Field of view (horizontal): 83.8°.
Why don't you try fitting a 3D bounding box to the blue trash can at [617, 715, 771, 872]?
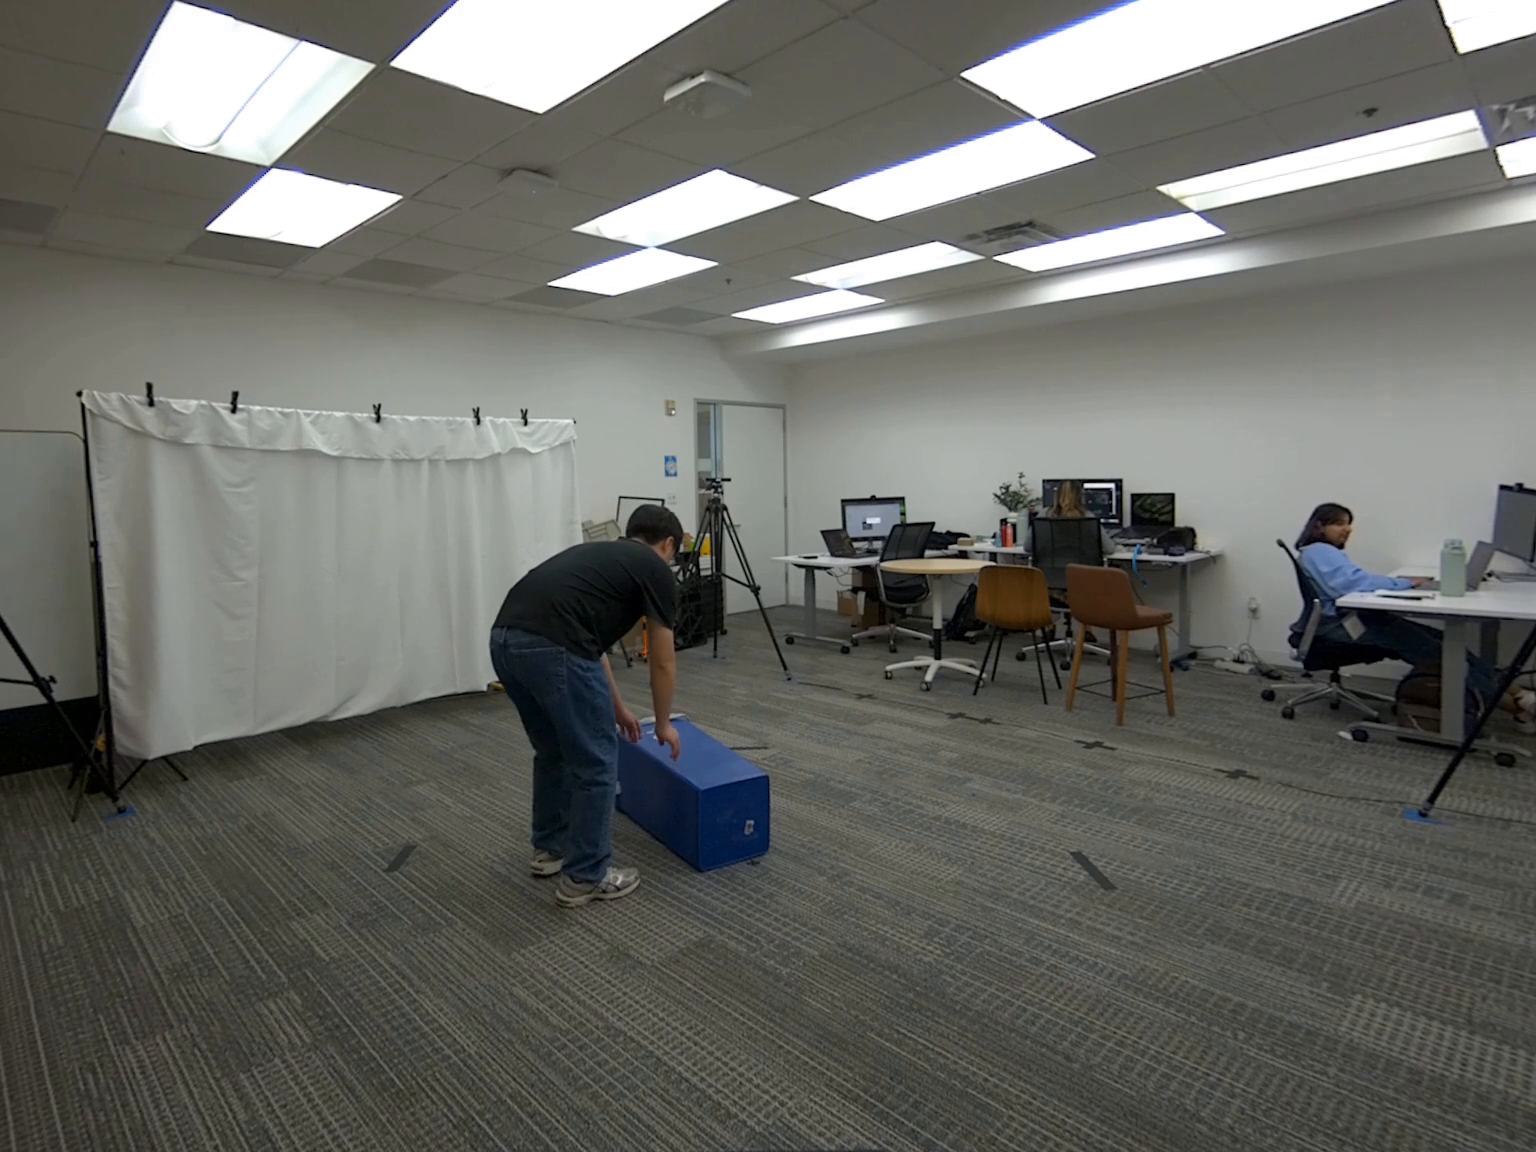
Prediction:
[{"bbox_3d":[-0.307,0.846,3.399,0.365,0.375,0.736,-4,9,-32],"label":"blue trash can"}]
